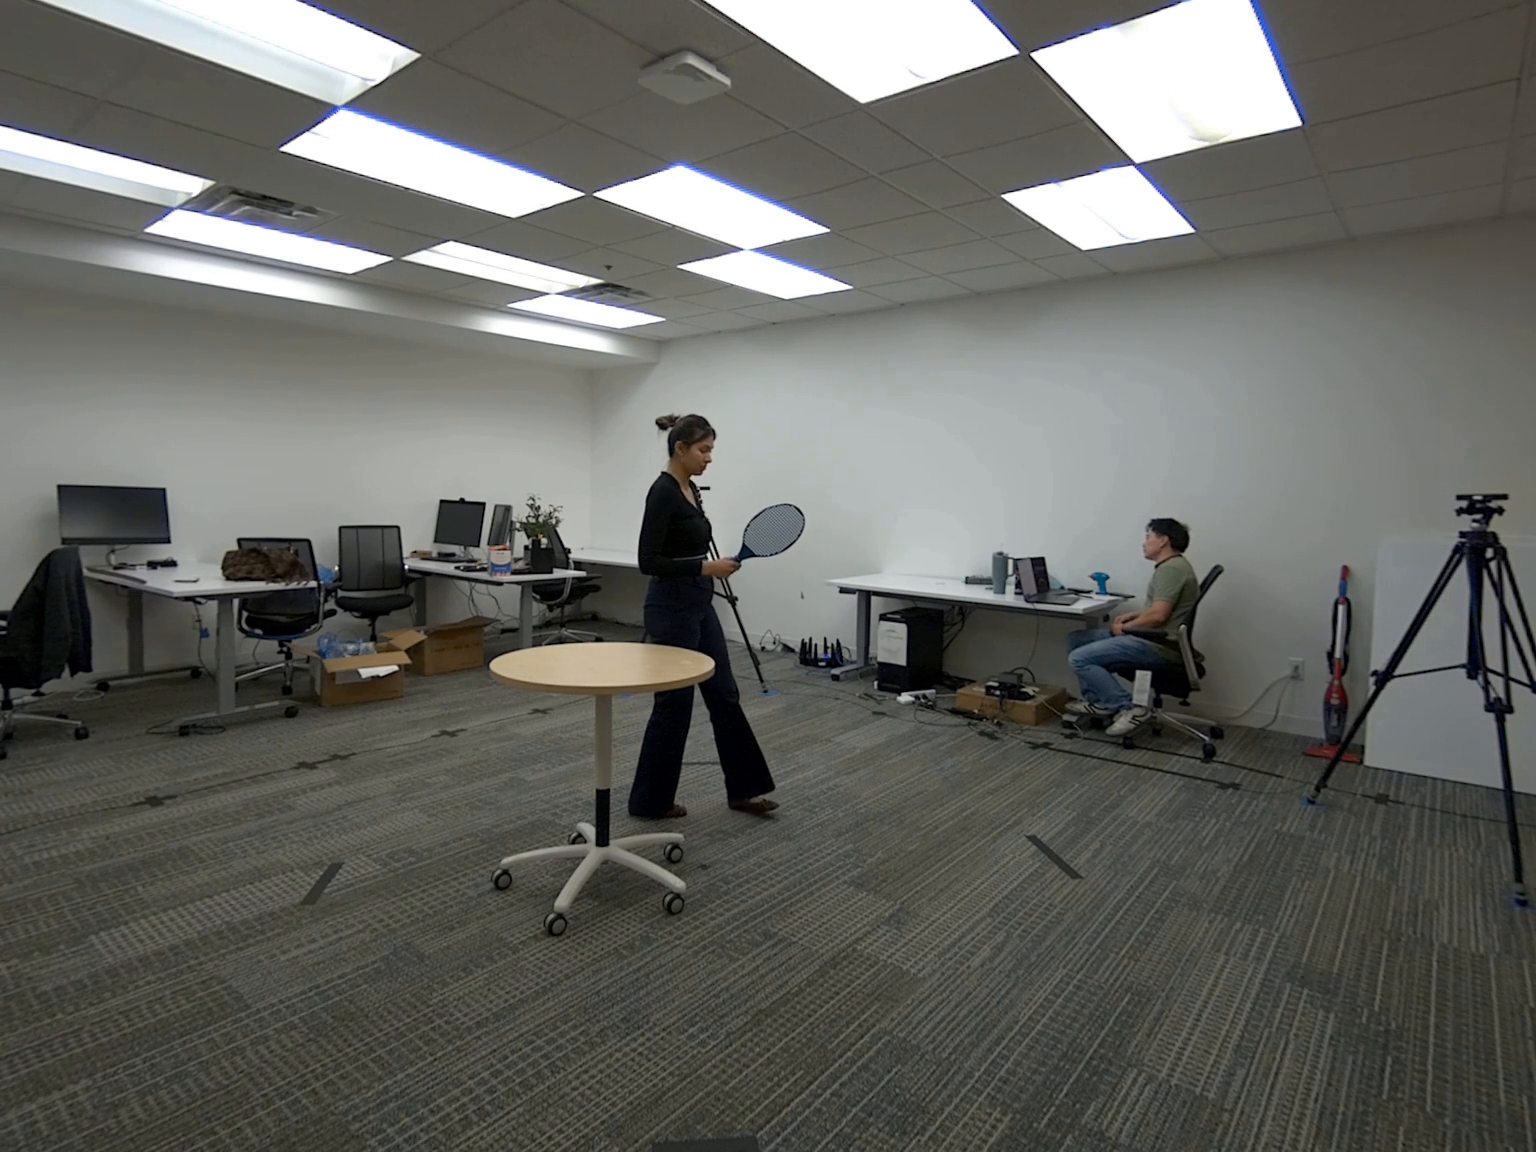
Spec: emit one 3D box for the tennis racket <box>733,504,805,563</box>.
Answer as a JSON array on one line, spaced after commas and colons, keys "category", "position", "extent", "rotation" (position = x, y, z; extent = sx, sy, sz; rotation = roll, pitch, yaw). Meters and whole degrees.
[{"category": "tennis racket", "position": [-0.054, -0.137, 3.355], "extent": [0.434, 0.206, 0.033], "rotation": [-35, 27, 11]}]
